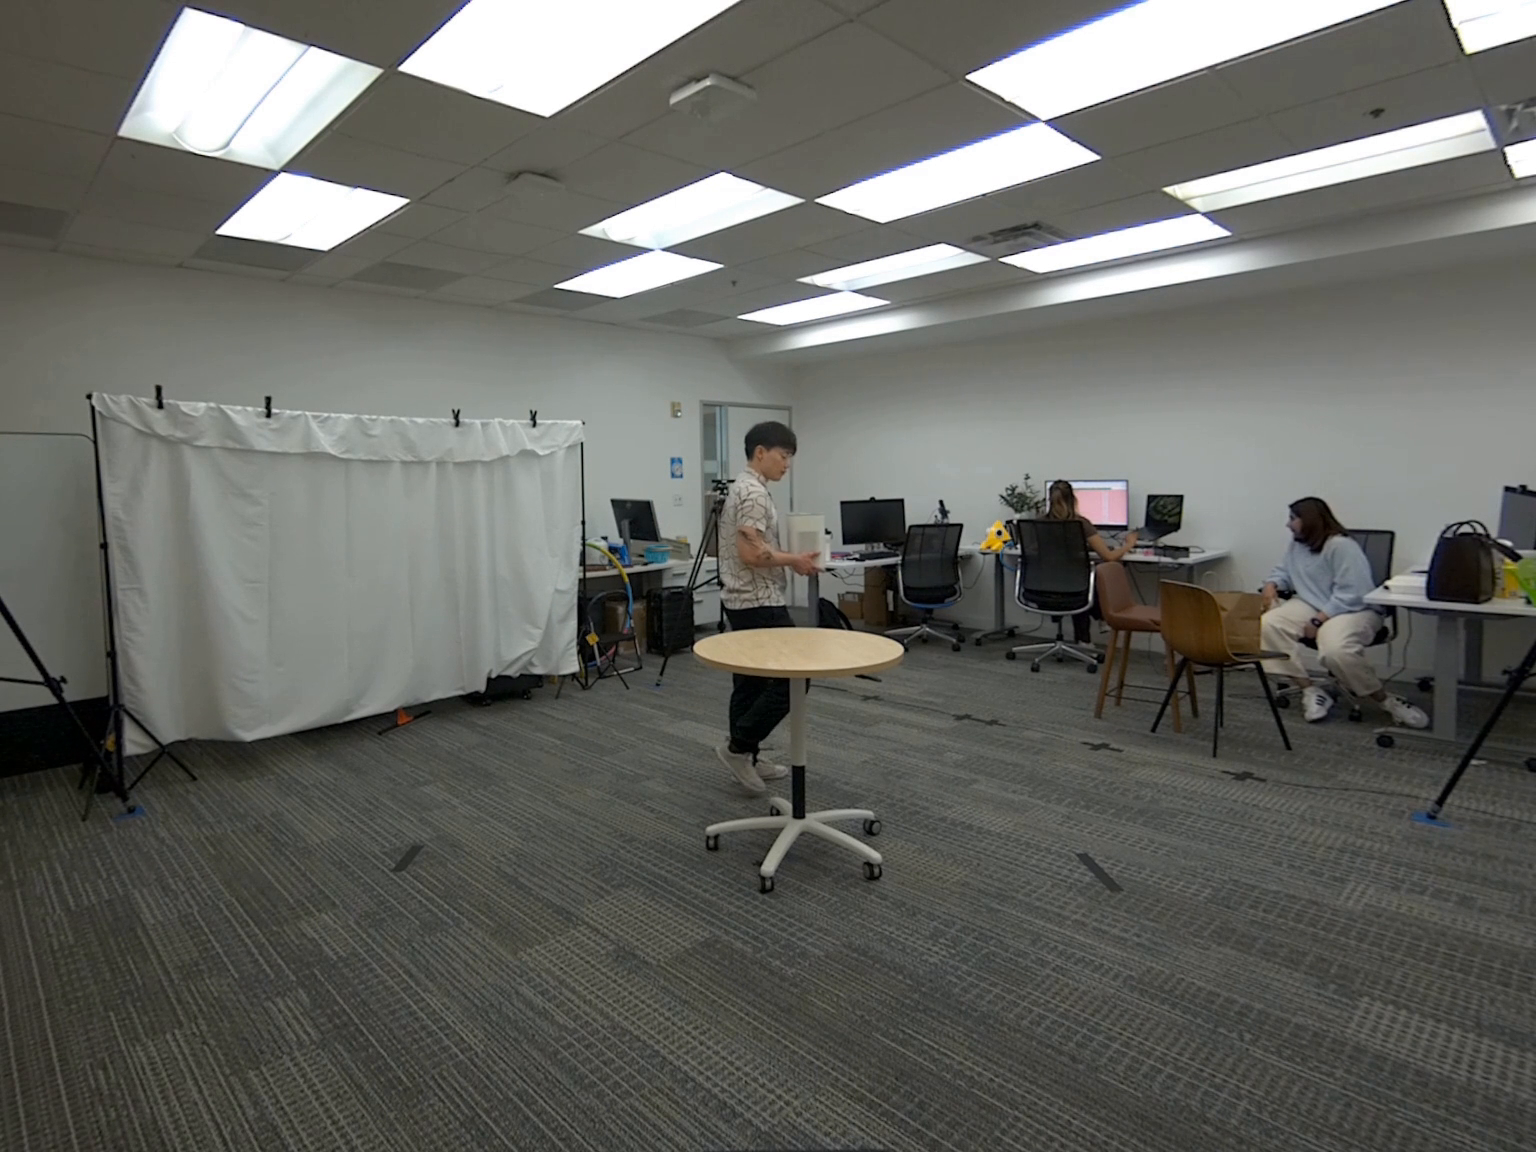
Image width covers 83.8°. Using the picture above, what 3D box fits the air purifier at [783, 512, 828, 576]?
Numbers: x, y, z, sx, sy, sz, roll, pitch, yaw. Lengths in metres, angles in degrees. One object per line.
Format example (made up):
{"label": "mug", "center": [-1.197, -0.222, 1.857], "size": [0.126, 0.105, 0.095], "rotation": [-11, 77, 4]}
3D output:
{"label": "air purifier", "center": [0.170, -0.150, 3.884], "size": [0.173, 0.264, 0.170], "rotation": [-4, 4, 6]}
